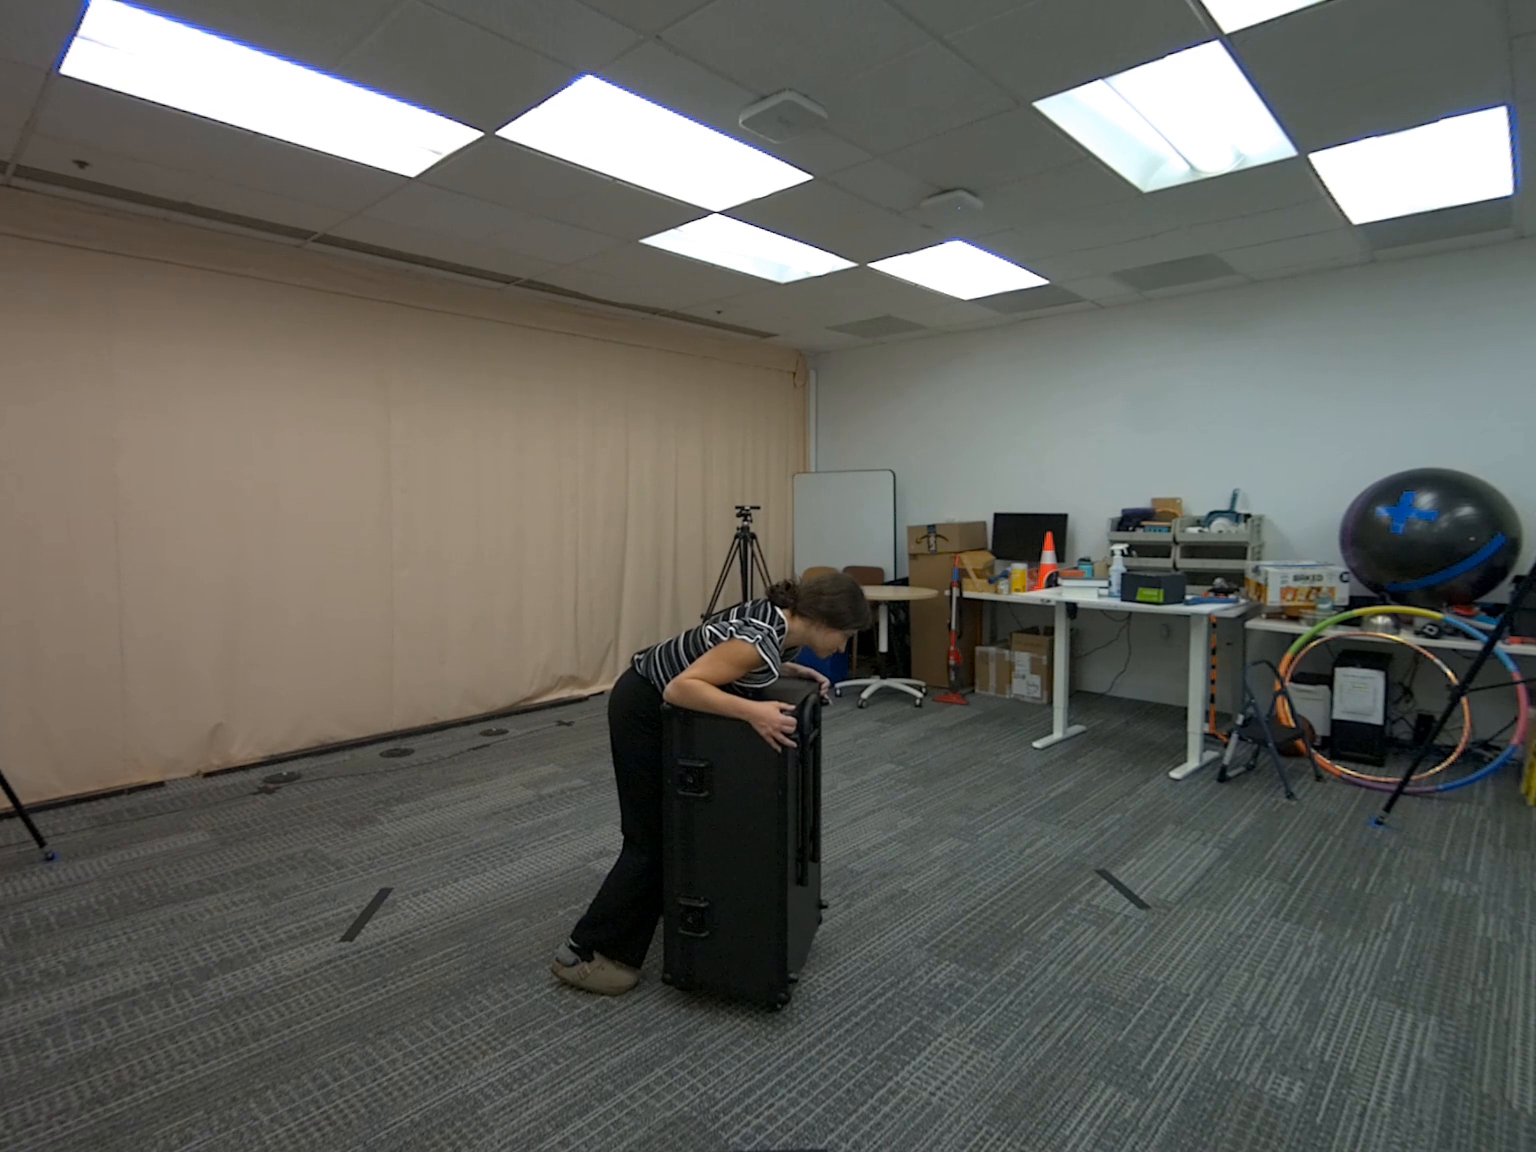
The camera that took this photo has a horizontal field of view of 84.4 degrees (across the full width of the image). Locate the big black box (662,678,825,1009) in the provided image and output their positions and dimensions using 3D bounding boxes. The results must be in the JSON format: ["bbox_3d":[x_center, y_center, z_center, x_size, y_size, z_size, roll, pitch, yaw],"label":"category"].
[{"bbox_3d":[-0.034,0.773,2.485,0.403,0.859,0.513,2,4,15],"label":"big black box"}]
